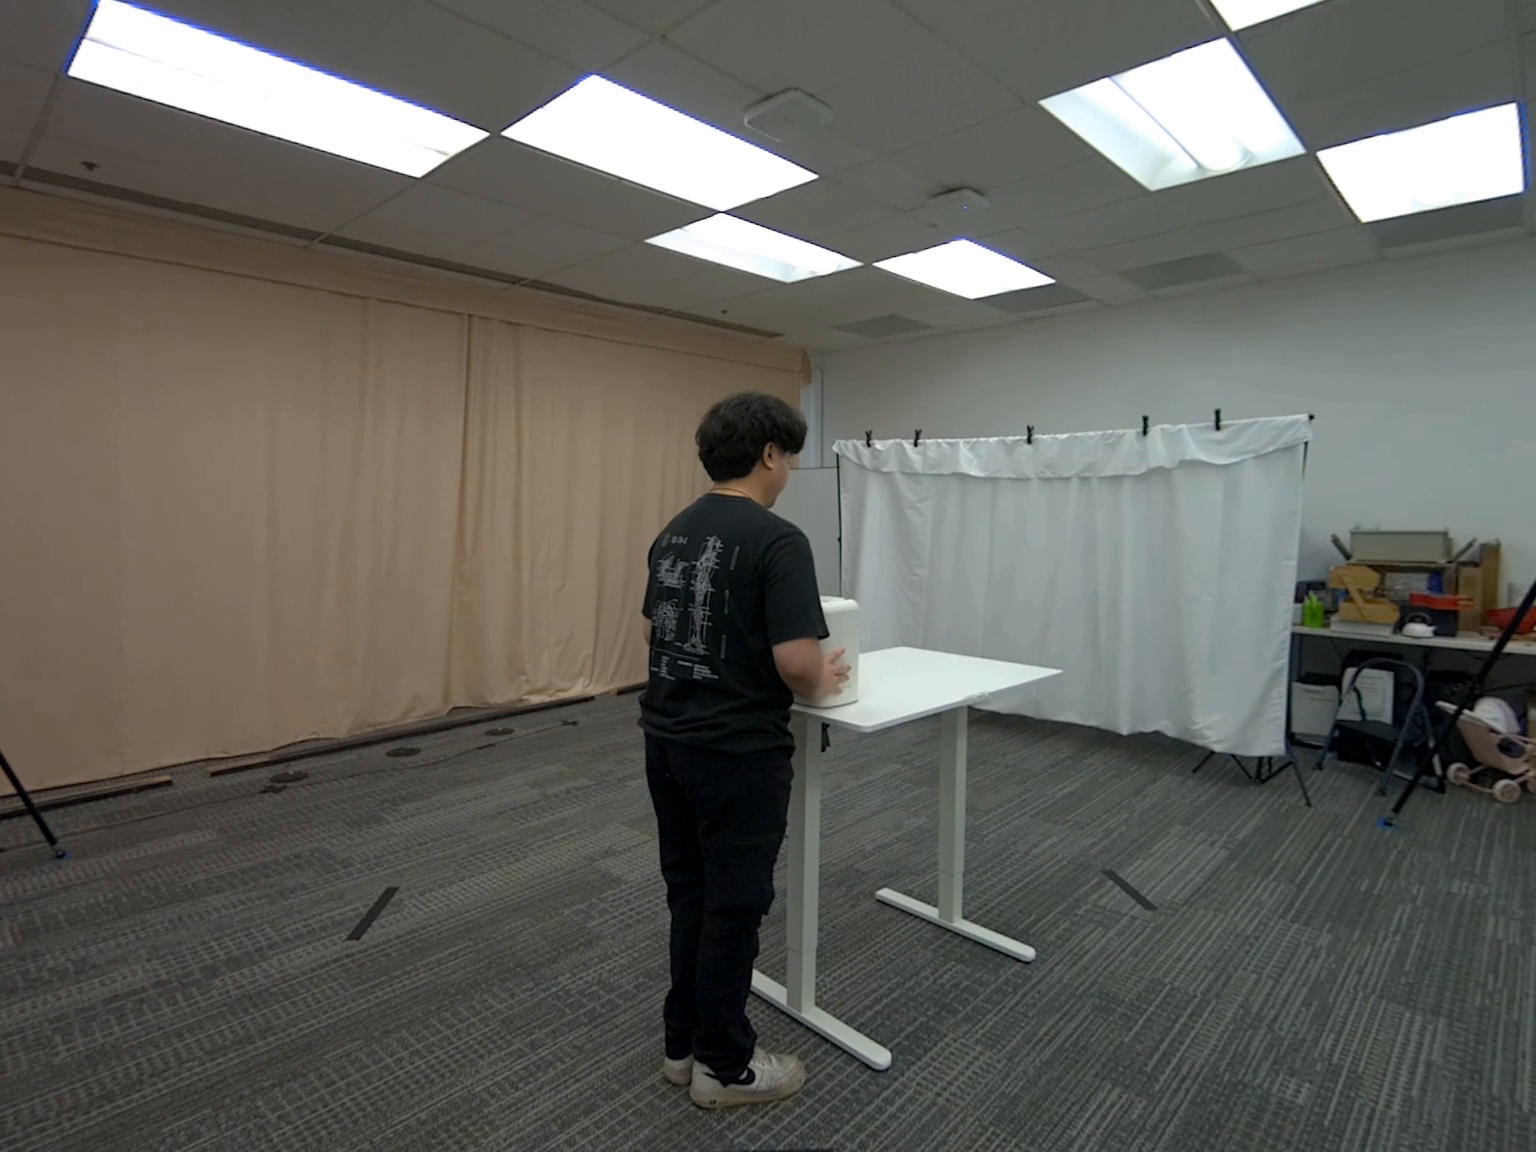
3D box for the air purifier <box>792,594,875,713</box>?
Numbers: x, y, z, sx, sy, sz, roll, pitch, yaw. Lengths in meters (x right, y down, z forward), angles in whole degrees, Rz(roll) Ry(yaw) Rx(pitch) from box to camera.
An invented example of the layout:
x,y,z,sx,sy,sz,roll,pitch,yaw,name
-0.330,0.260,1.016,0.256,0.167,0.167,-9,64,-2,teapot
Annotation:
x,y,z,sx,sy,sz,roll,pitch,yaw,name
0.147,0.191,2.182,0.166,0.265,0.177,-1,4,-44,air purifier
